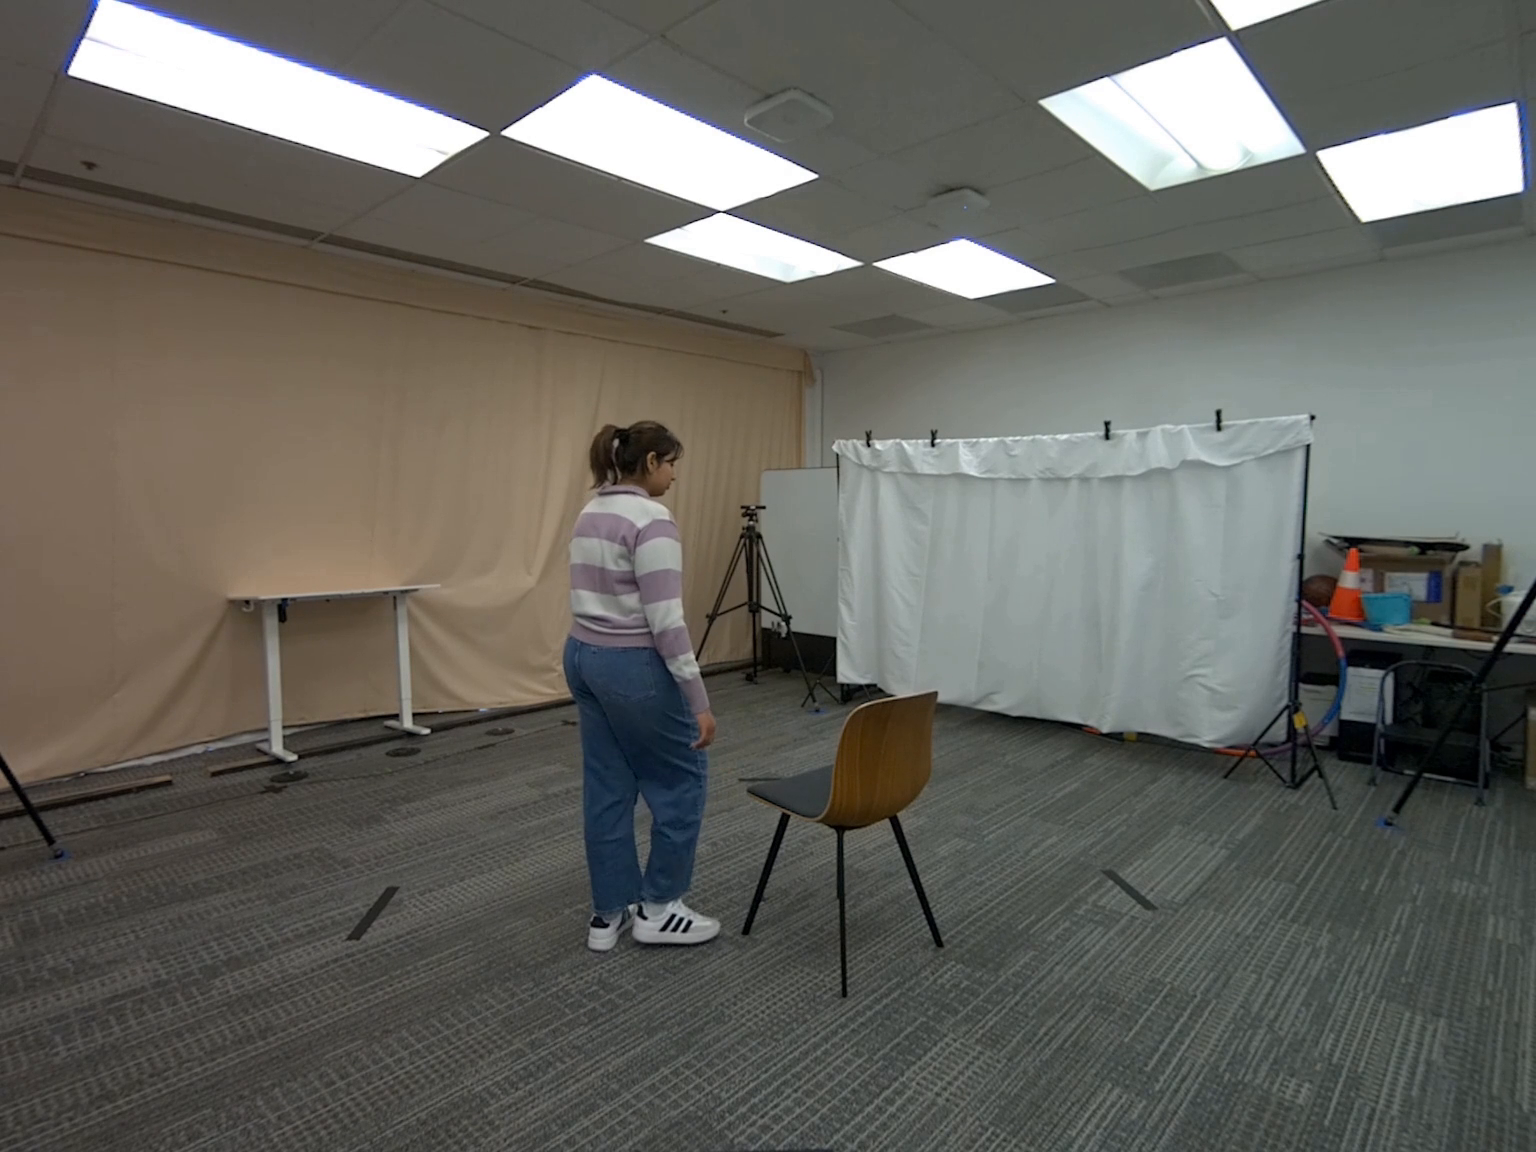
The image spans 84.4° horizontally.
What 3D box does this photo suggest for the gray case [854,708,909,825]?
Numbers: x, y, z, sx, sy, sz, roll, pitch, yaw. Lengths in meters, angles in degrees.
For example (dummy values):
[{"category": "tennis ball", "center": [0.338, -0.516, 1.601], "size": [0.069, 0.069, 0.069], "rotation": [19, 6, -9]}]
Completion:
[{"category": "gray case", "center": [0.340, 0.573, 2.587], "size": [0.105, 0.260, 0.255], "rotation": [12, 6, 5]}]
